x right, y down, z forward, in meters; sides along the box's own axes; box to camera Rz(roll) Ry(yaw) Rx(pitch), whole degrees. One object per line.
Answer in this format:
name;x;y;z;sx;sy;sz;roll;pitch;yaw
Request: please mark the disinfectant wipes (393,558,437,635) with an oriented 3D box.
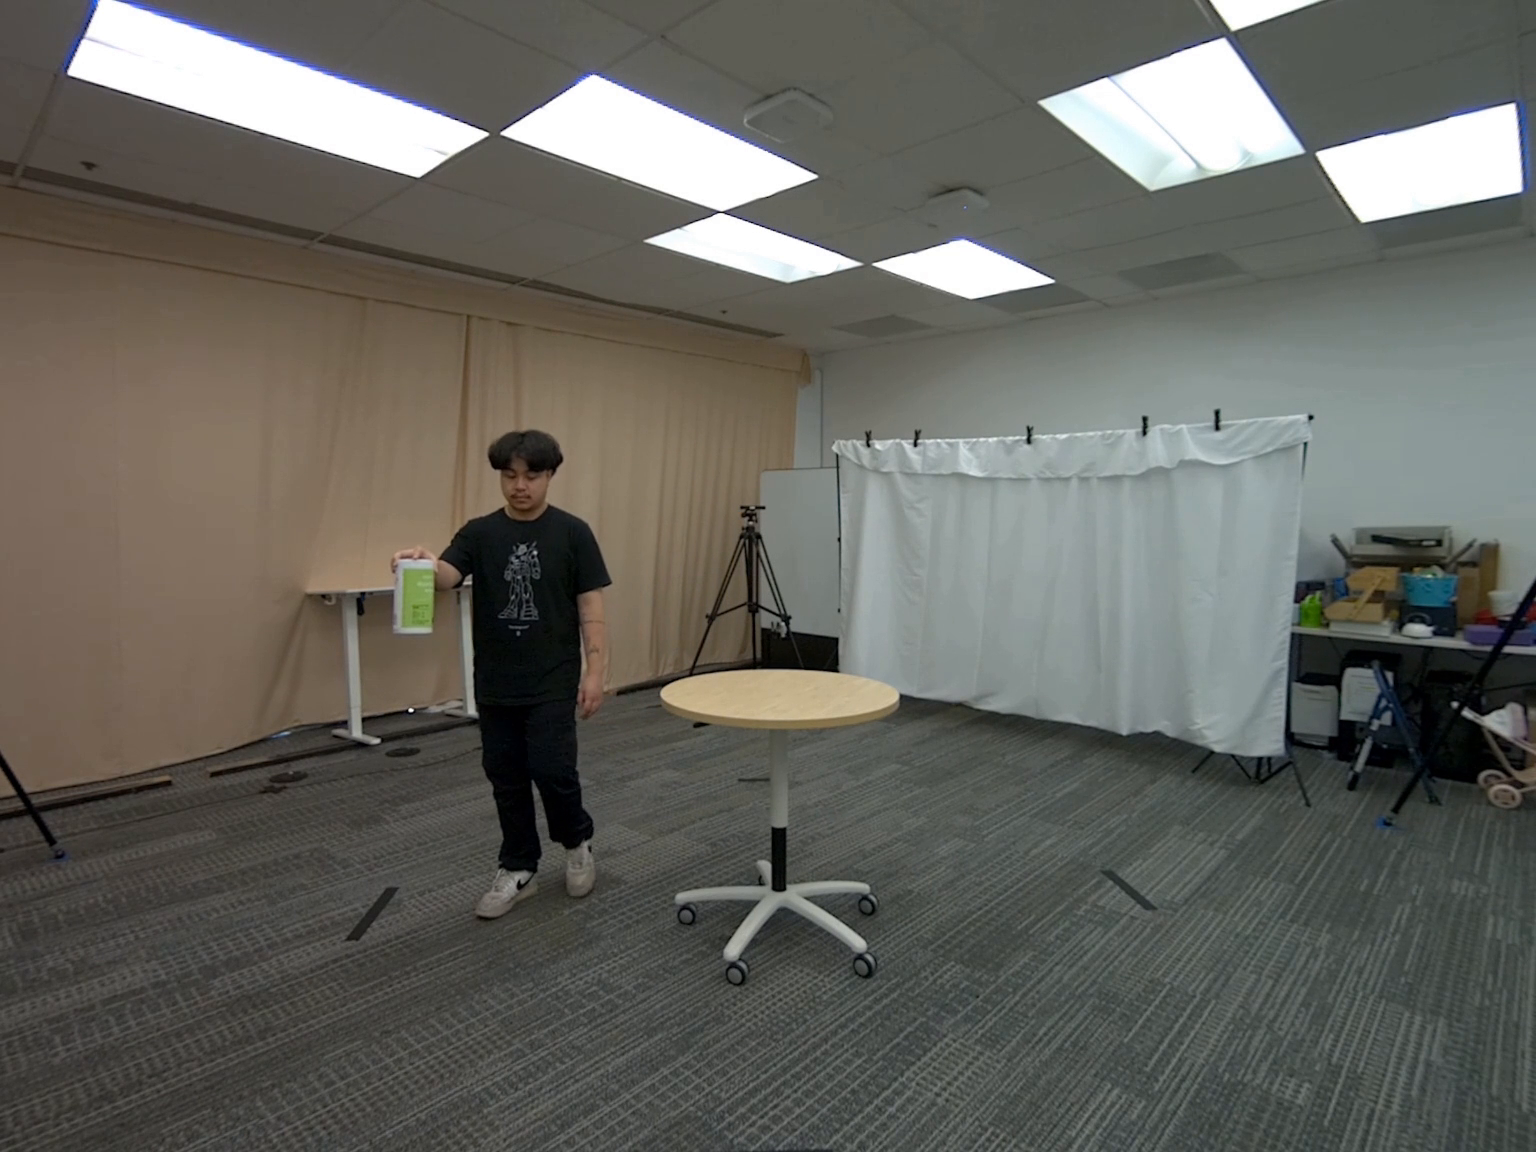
disinfectant wipes;-1.023;0.062;2.434;0.118;0.218;0.118;0;-1;-2
